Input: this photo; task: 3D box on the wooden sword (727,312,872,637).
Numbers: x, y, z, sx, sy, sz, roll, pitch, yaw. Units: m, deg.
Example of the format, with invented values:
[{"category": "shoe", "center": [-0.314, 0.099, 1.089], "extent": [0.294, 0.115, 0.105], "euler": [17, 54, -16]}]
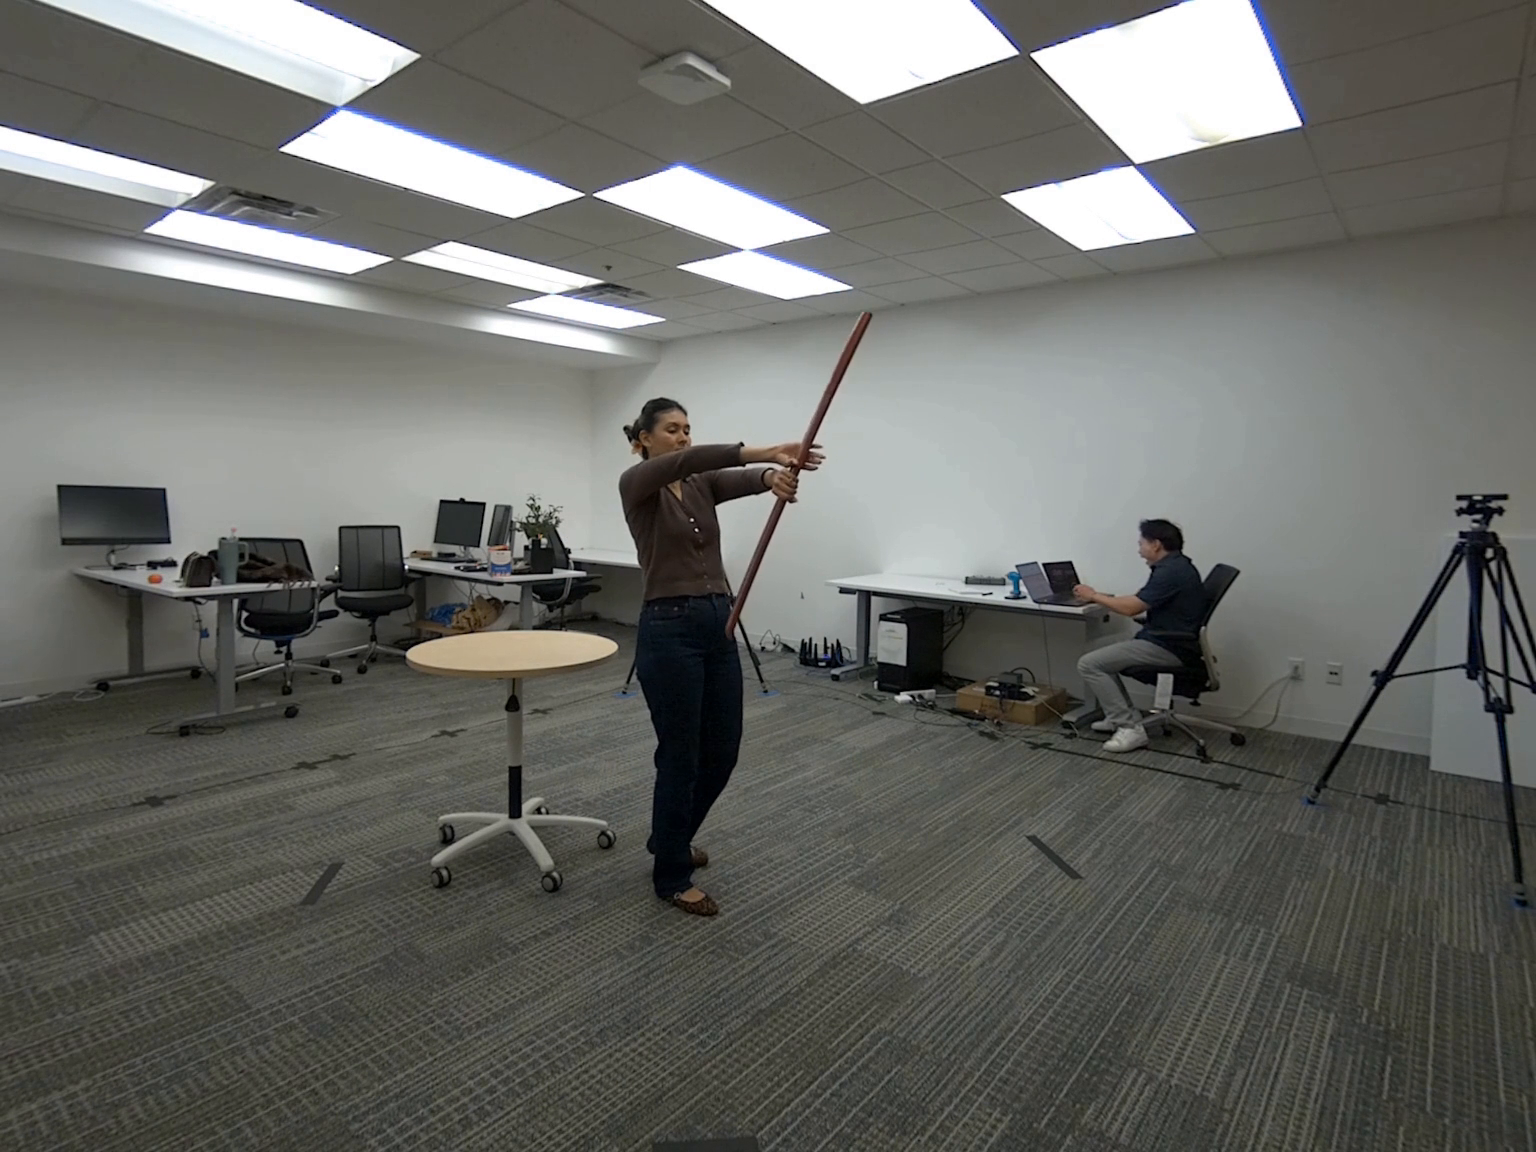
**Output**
[{"category": "wooden sword", "center": [0.081, -0.307, 2.423], "extent": [0.053, 1.027, 0.023], "euler": [20, -6, 40]}]
